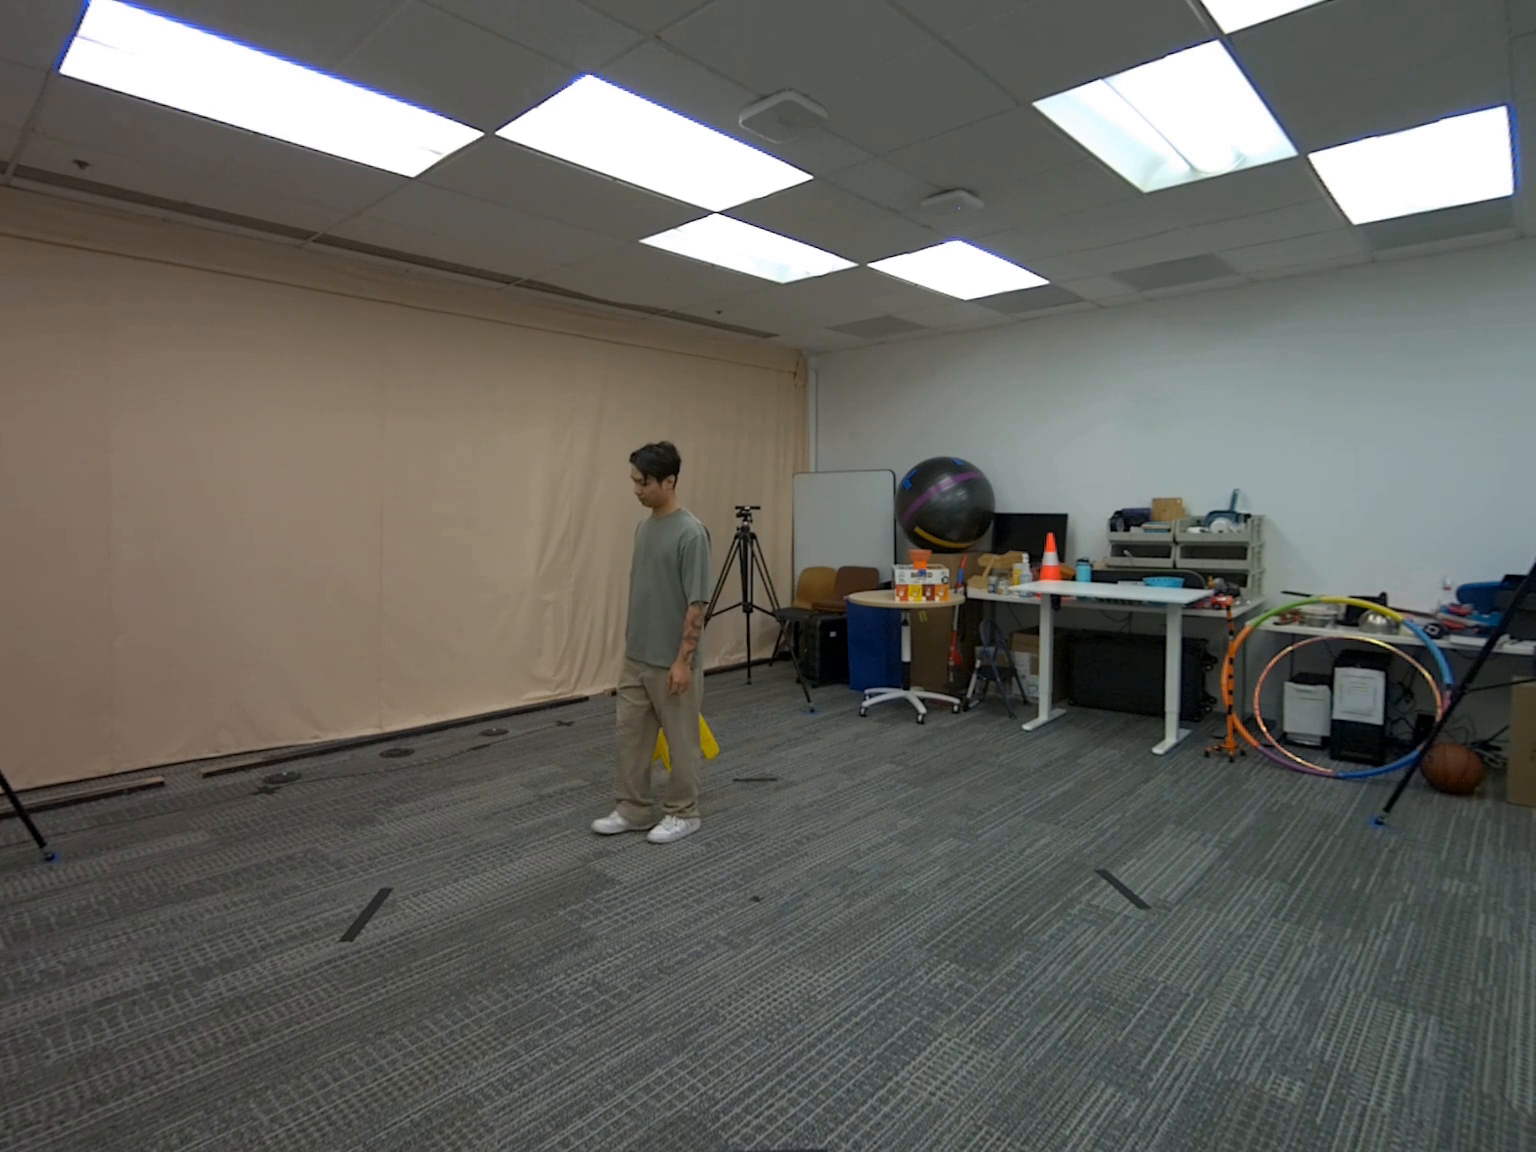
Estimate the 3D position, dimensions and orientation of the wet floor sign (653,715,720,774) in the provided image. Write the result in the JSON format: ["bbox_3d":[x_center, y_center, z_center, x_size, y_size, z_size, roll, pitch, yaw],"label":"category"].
[{"bbox_3d":[-0.509,0.612,3.940,0.278,0.633,0.300,-30,28,-26],"label":"wet floor sign"}]
